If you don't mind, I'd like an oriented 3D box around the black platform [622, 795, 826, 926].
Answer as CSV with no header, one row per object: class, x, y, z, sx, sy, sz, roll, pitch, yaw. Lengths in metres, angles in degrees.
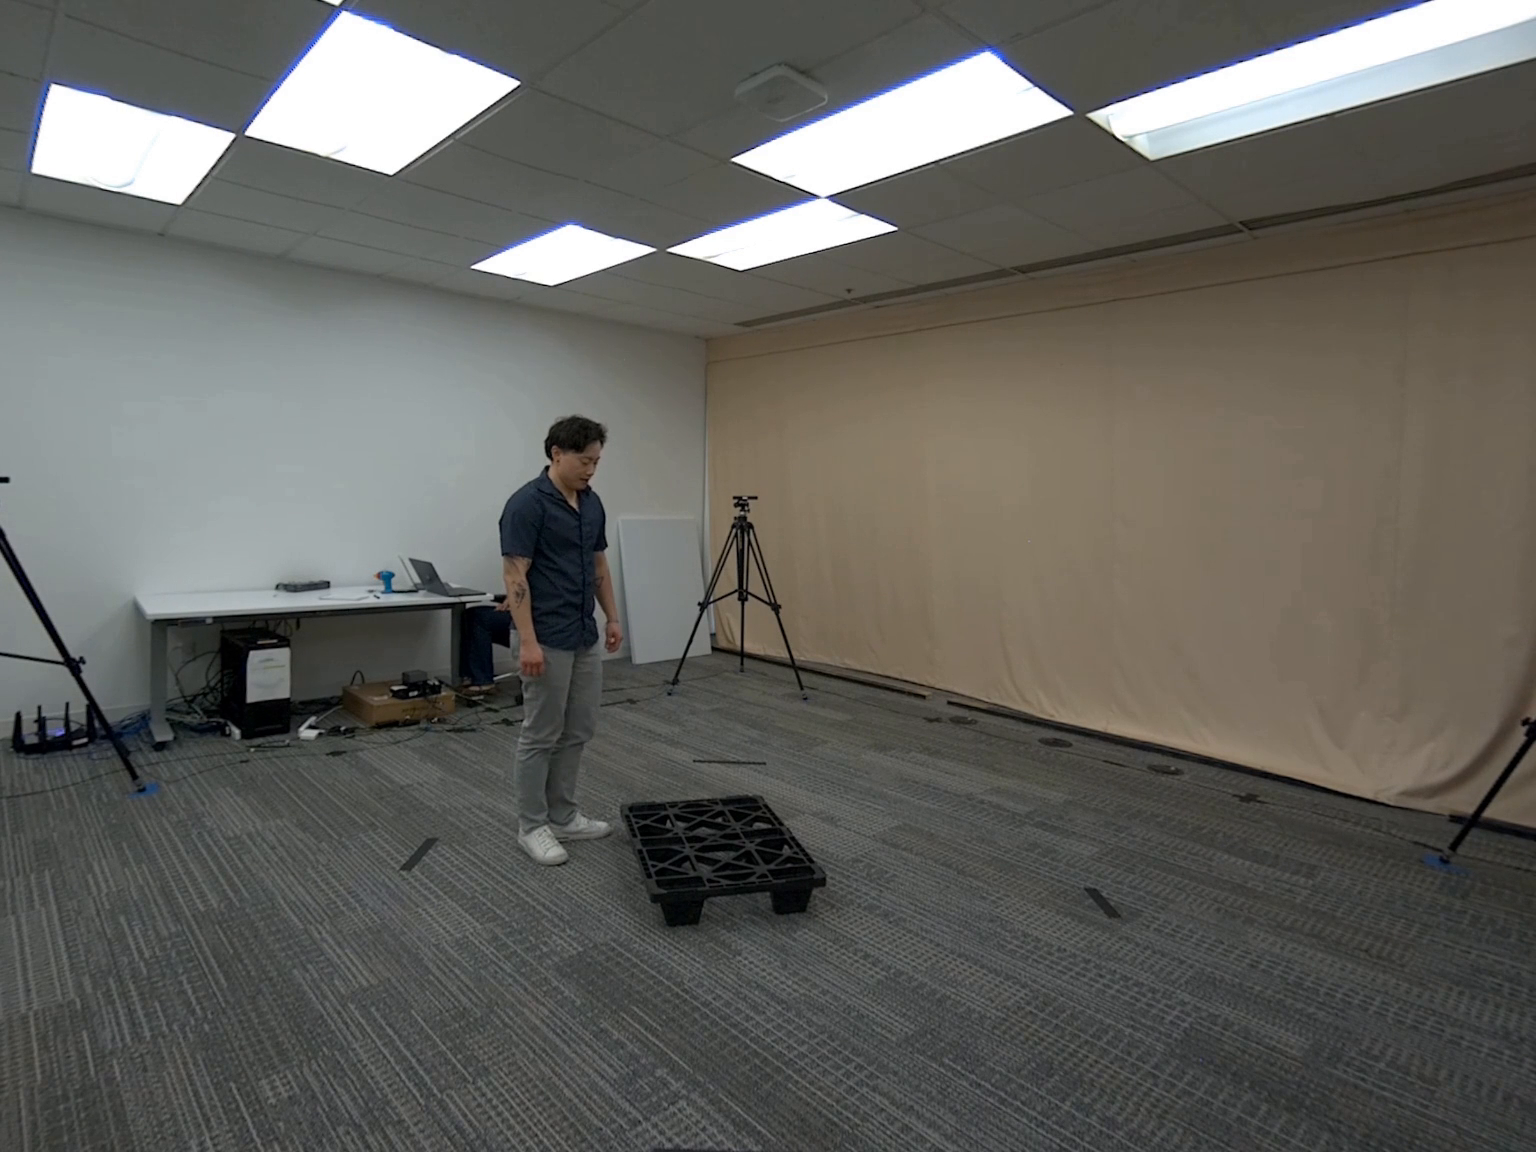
black platform,-0.207,1.029,3.125,0.598,0.143,0.818,0,6,-16
